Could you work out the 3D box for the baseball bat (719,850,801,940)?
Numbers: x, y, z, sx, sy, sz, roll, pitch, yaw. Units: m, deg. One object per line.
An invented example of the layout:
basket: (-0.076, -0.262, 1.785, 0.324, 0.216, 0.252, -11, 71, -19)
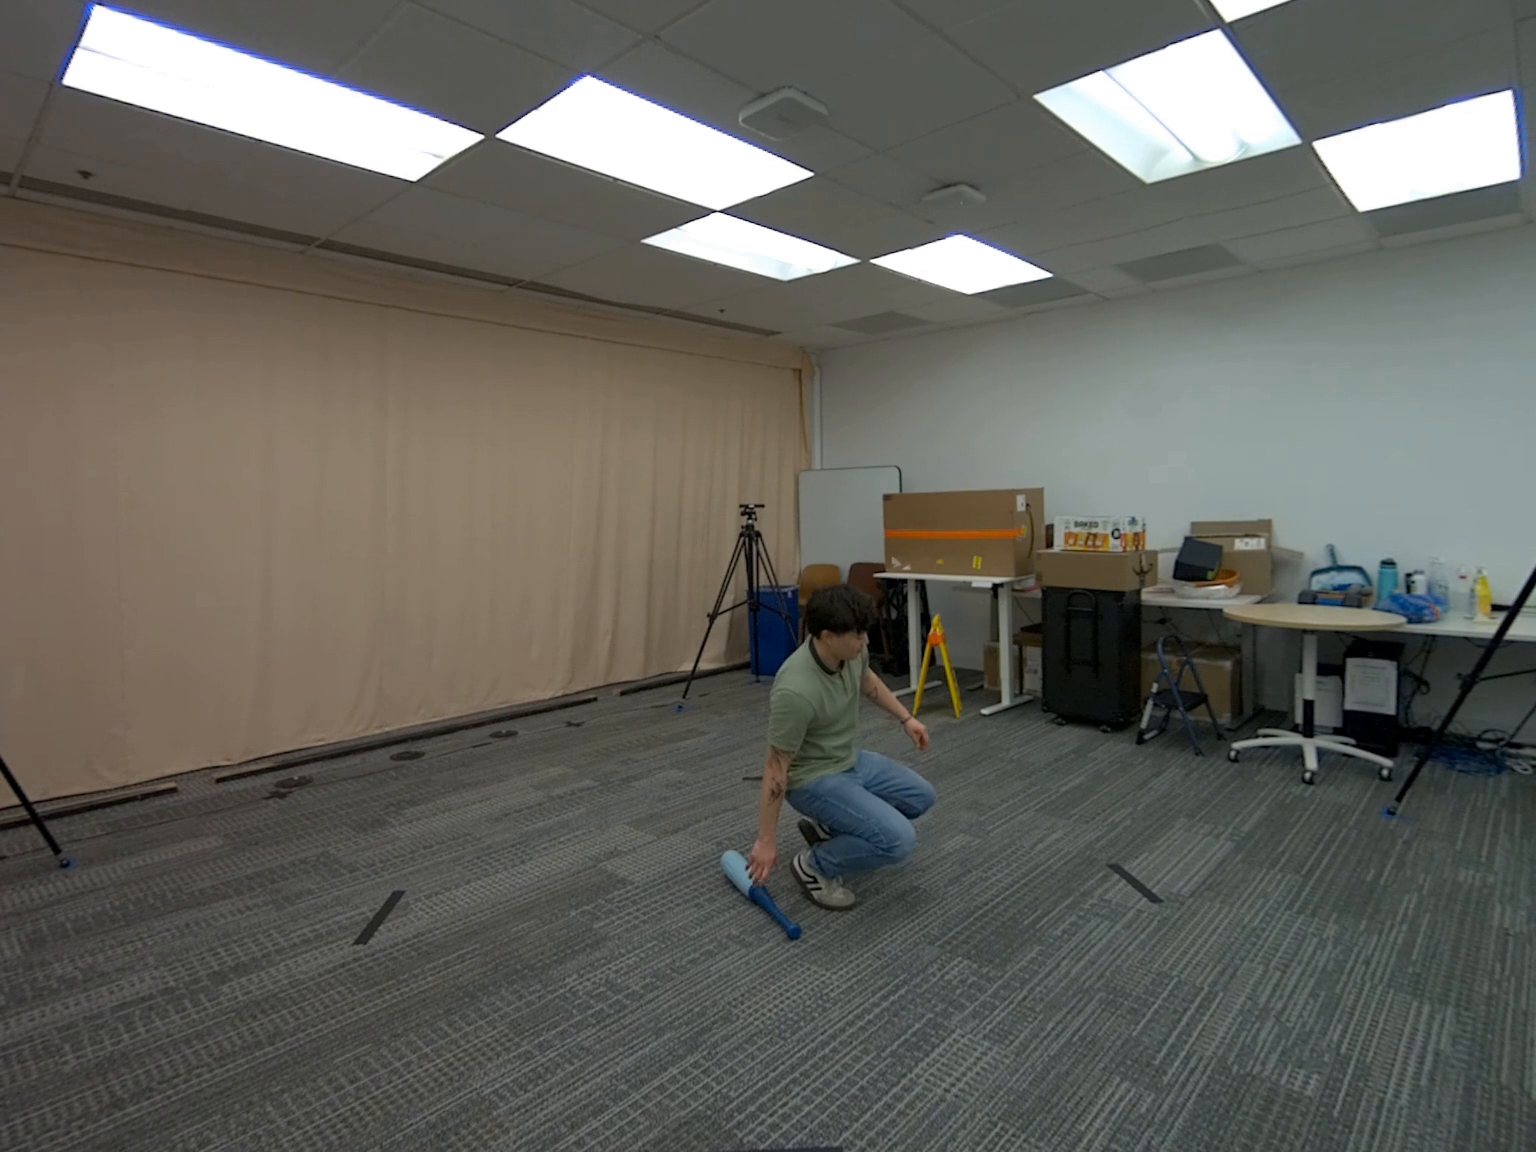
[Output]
baseball bat: (-0.021, 1.108, 2.937, 0.087, 0.088, 0.558, -3, 9, -24)
